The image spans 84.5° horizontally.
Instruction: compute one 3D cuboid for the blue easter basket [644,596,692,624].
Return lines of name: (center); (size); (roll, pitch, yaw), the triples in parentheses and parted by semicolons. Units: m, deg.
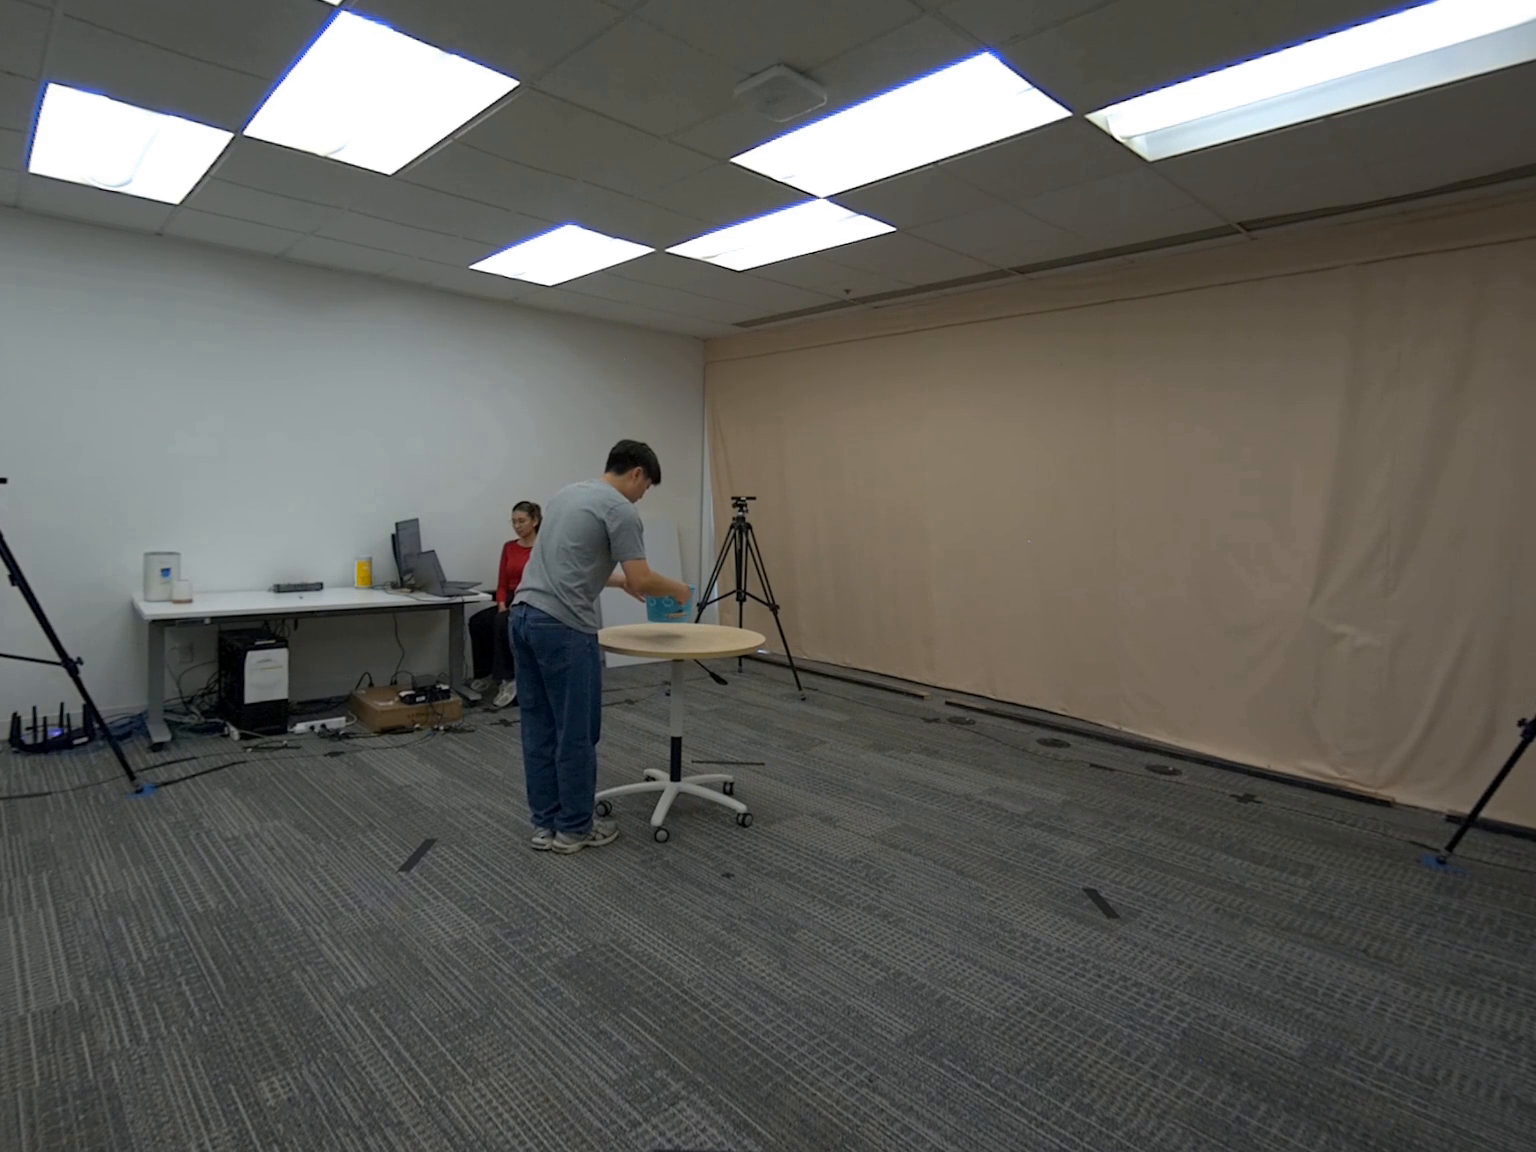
blue easter basket: (-0.443, 0.122, 3.676); (0.243, 0.155, 0.244); (0, 3, -1)
